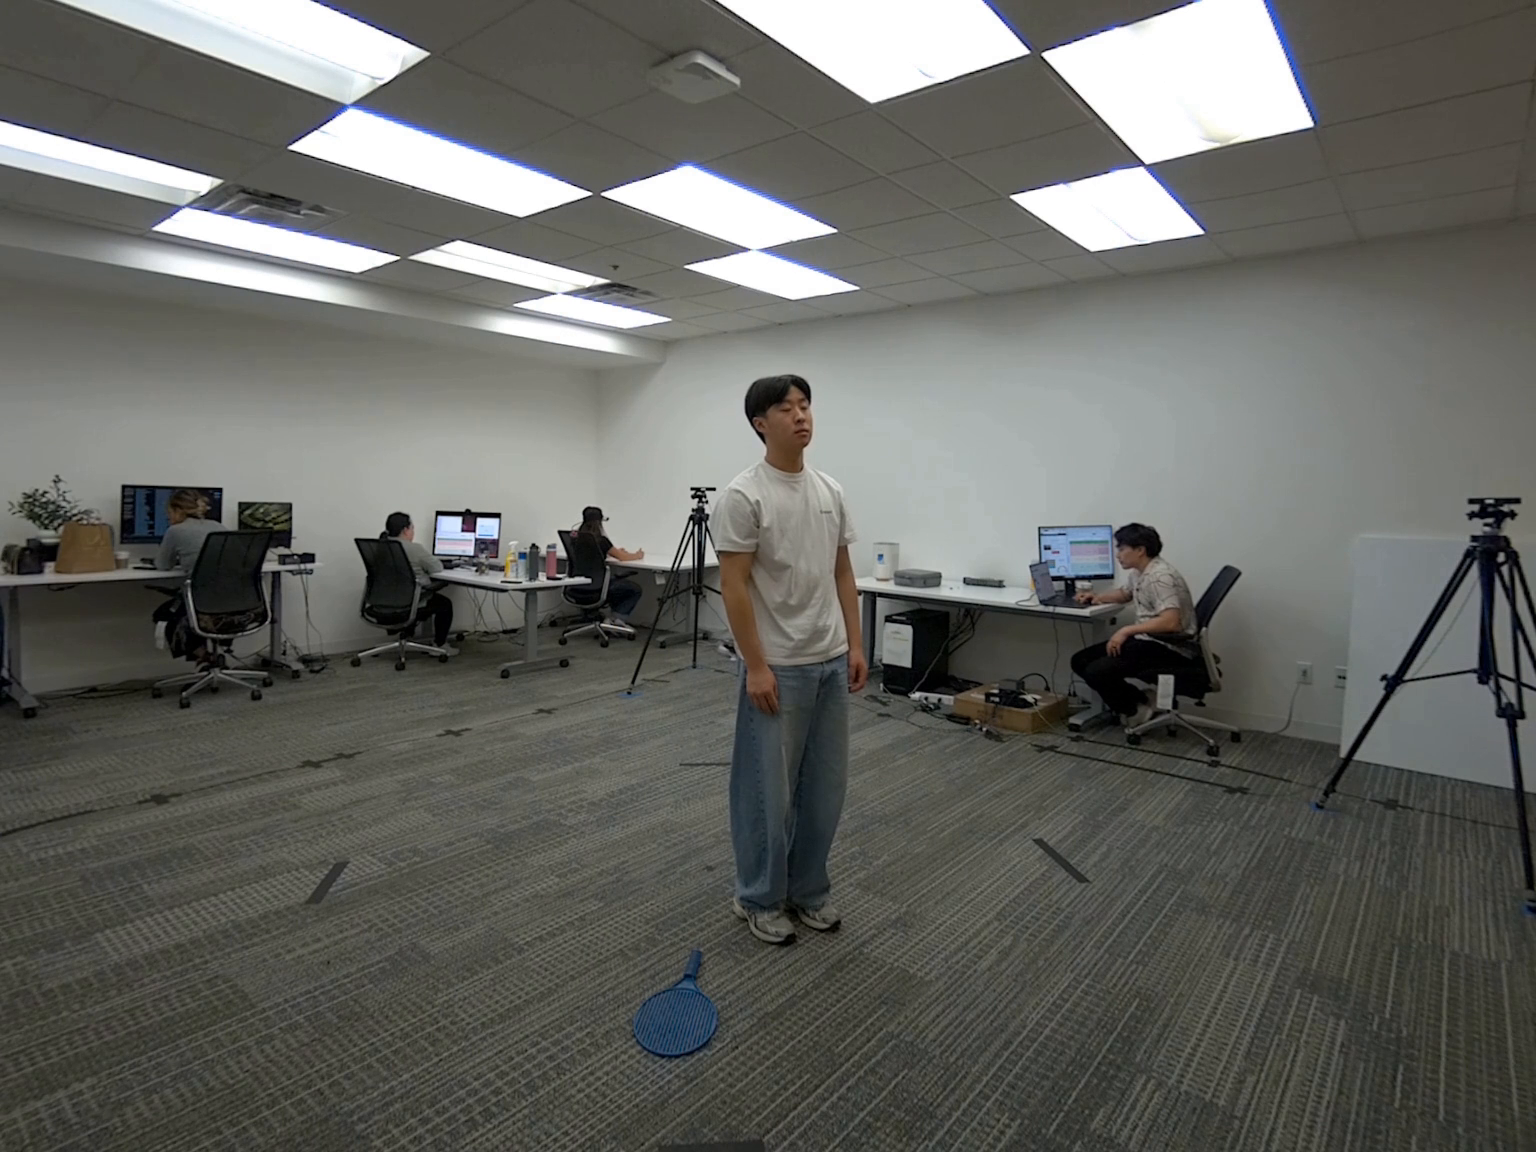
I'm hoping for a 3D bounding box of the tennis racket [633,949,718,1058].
[{"bbox_3d":[-0.232,1.134,2.291,0.216,0.031,0.431,2,8,8],"label":"tennis racket"}]
